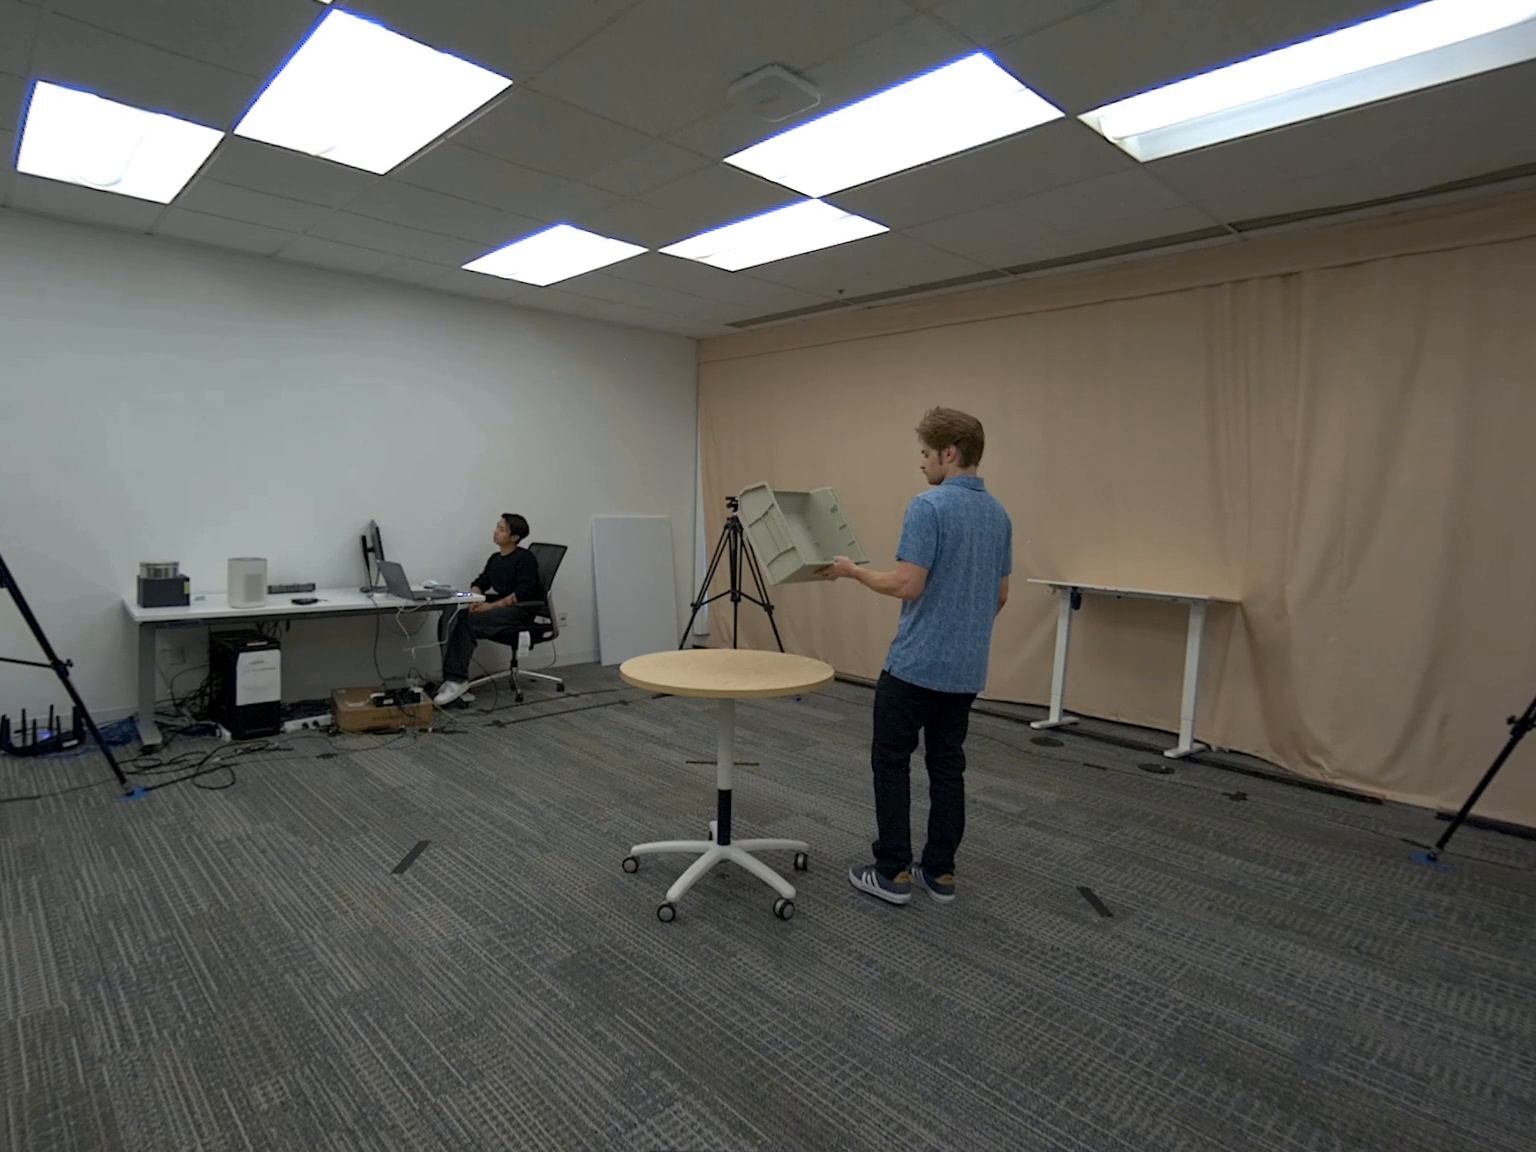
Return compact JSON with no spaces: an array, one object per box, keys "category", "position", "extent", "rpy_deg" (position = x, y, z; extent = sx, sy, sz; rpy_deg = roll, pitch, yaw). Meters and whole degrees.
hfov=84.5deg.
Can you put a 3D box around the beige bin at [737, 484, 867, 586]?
[{"category":"beige bin","position":[0.110,-0.168,3.159],"extent":[0.190,0.384,0.413],"rpy_deg":[-37,-21,34]}]
